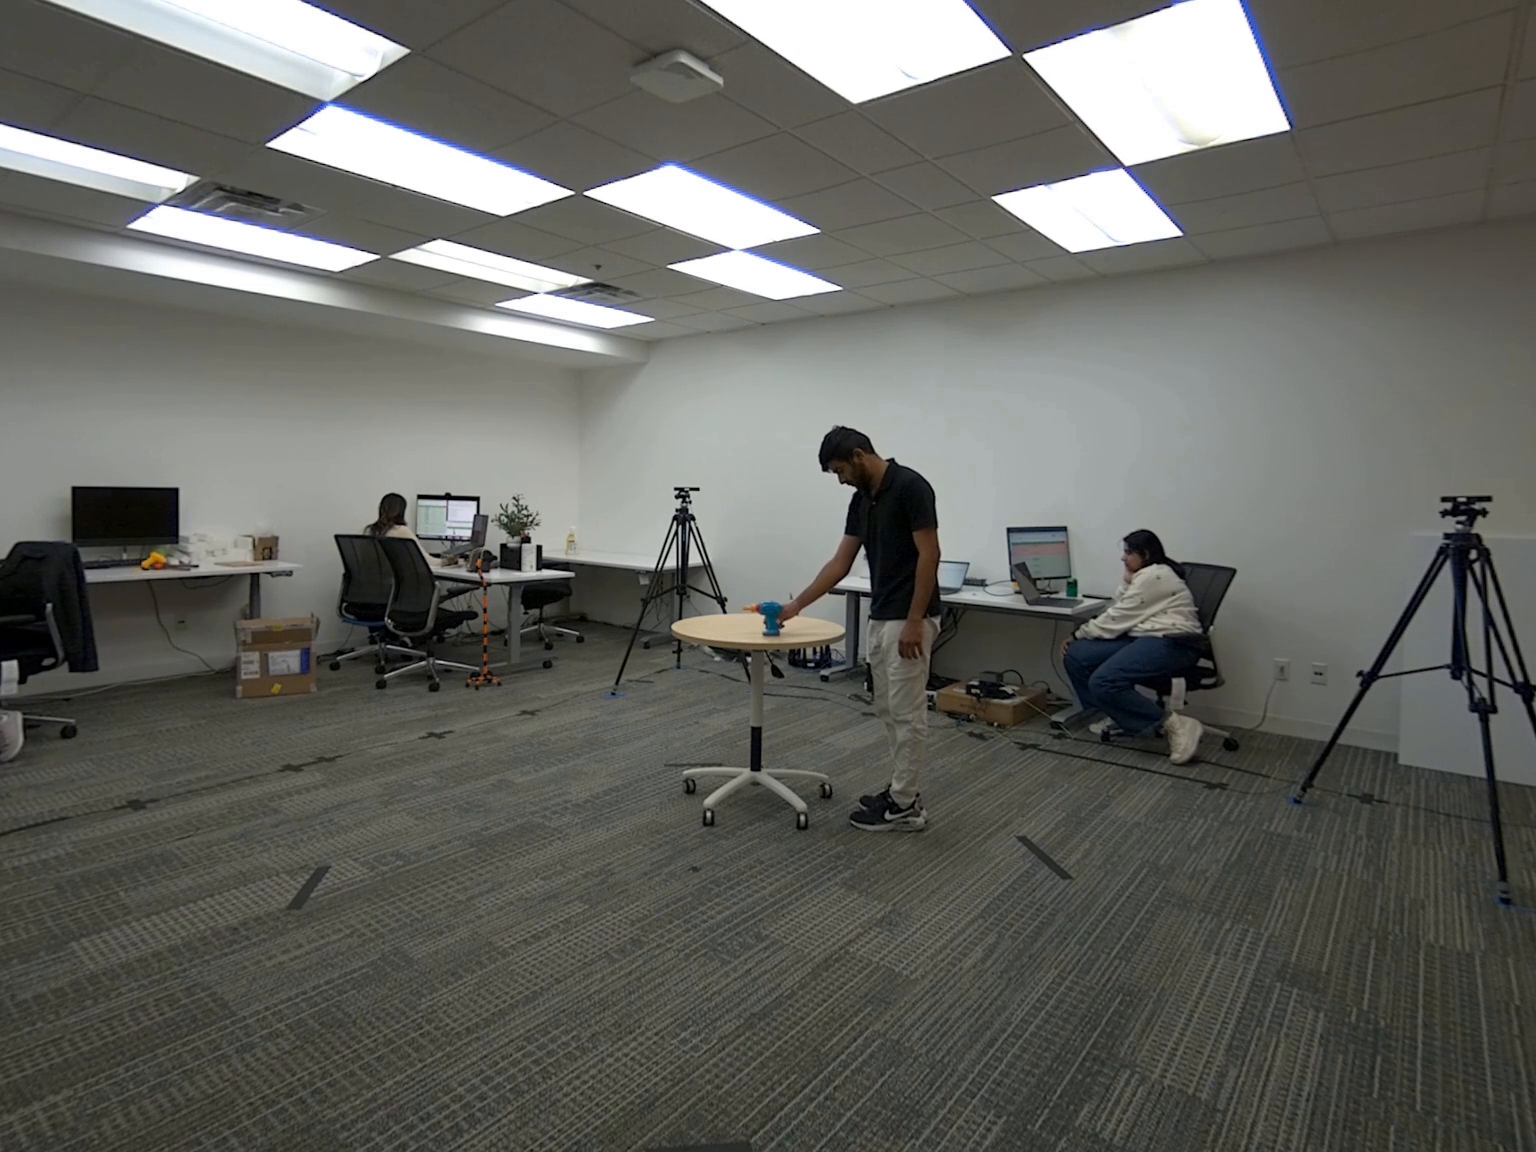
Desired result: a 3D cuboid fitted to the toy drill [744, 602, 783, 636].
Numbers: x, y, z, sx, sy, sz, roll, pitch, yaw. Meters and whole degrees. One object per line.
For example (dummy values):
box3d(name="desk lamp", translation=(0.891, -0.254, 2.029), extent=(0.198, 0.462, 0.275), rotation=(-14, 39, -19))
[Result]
box3d(name="toy drill", translation=(-0.028, 0.172, 3.562), extent=(0.168, 0.146, 0.062), rotation=(0, 3, -9))
